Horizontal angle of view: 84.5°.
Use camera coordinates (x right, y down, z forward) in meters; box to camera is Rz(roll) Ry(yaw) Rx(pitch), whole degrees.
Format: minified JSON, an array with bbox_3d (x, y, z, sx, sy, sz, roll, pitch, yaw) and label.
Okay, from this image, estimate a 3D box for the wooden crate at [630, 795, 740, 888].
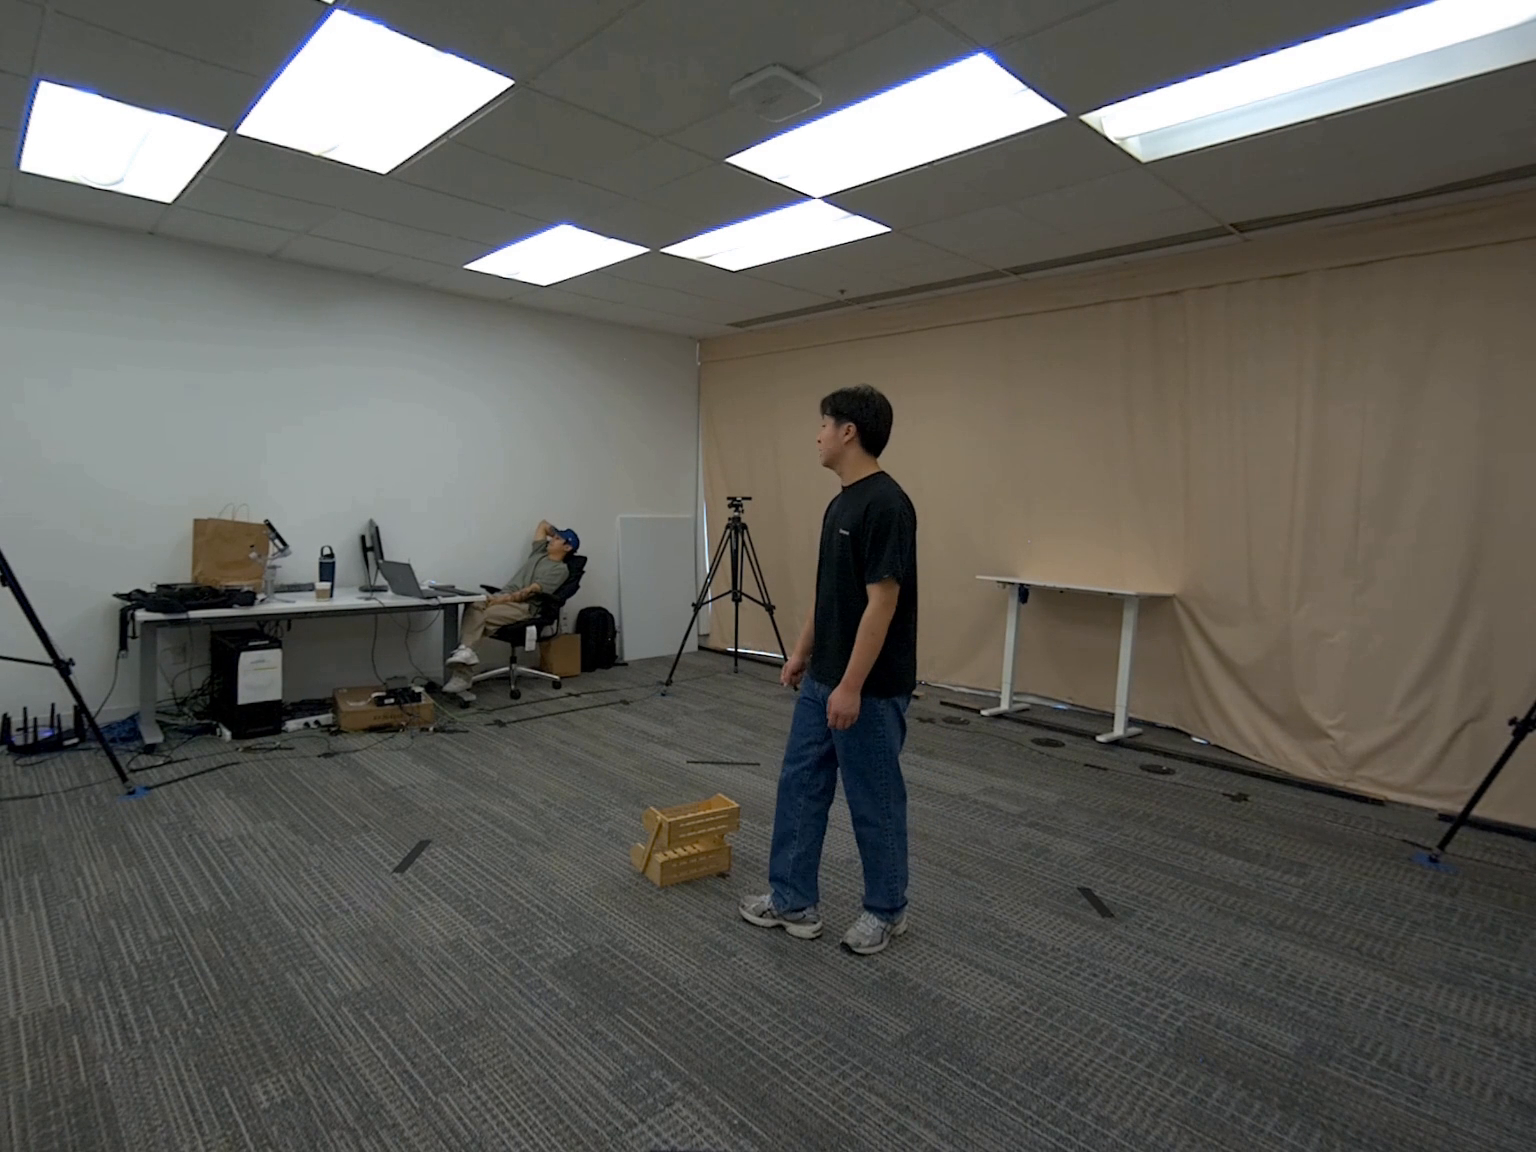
[{"bbox_3d":[-0.321,0.964,3.154,0.317,0.272,0.309,-1,6,-34],"label":"wooden crate"}]
